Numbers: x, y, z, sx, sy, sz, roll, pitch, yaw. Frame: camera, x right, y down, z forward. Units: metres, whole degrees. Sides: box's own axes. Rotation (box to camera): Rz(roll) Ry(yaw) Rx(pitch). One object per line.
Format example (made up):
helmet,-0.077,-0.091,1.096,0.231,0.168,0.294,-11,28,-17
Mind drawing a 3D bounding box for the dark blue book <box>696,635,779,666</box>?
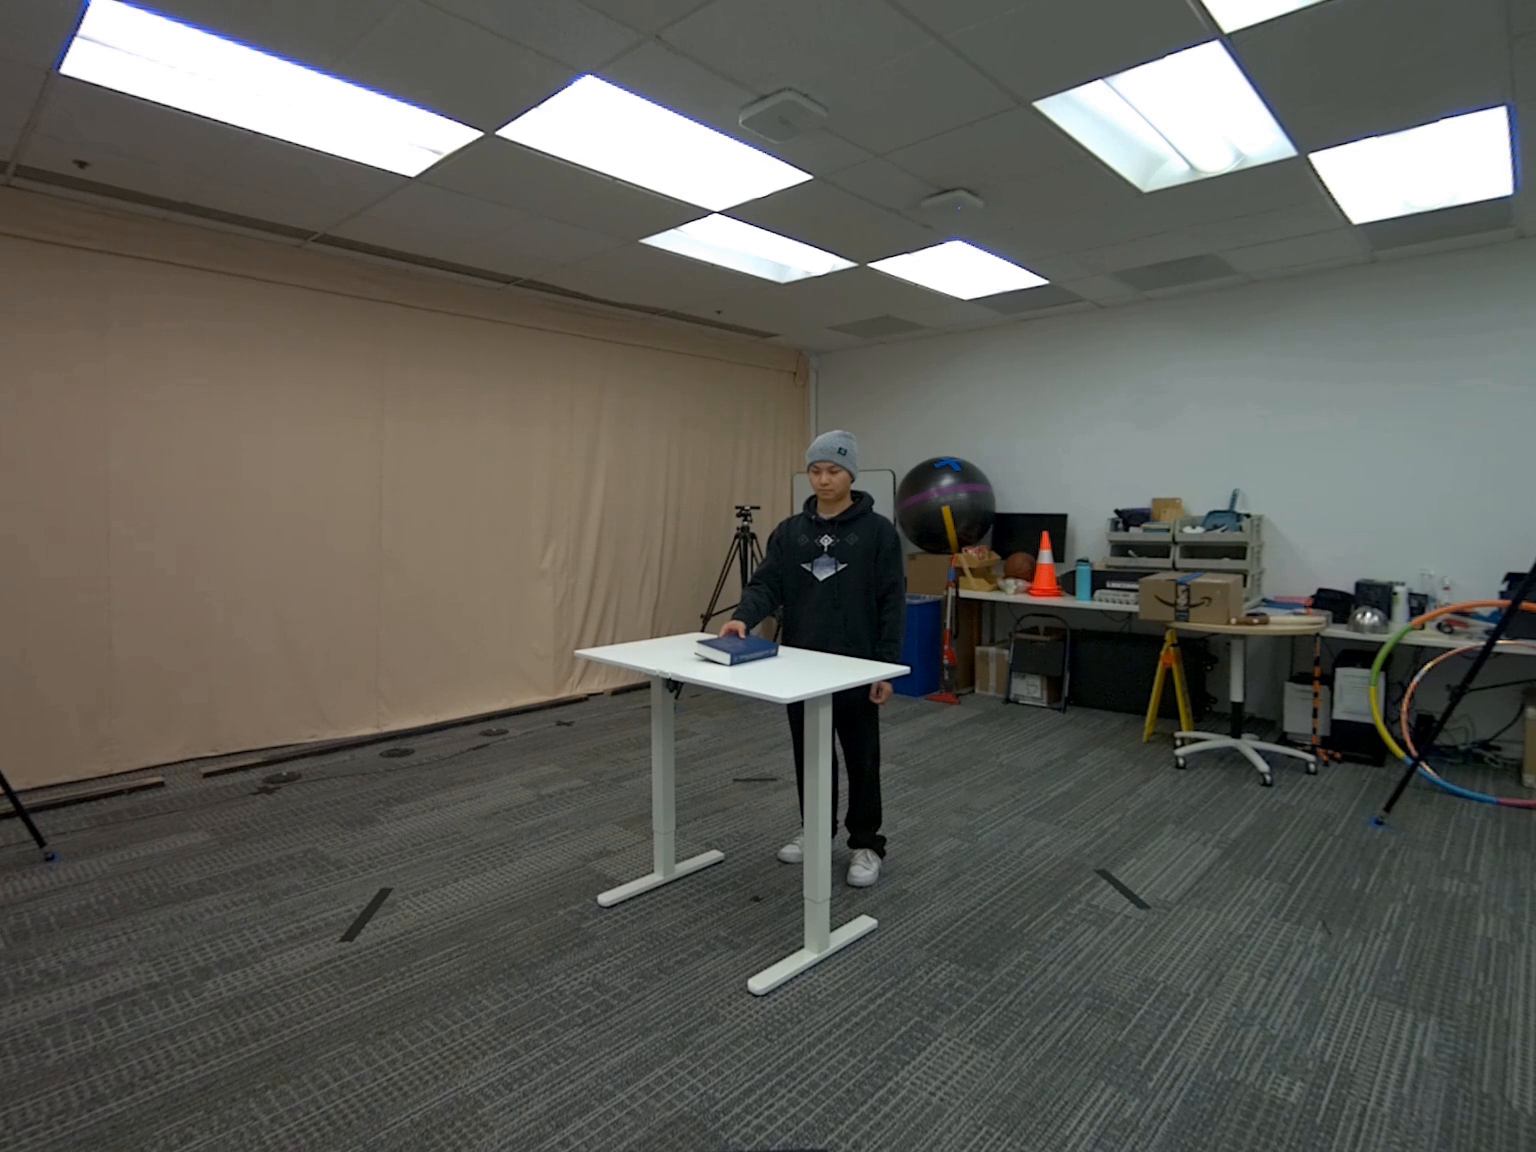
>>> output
dark blue book,-0.095,0.247,2.816,0.169,0.045,0.238,14,14,42
